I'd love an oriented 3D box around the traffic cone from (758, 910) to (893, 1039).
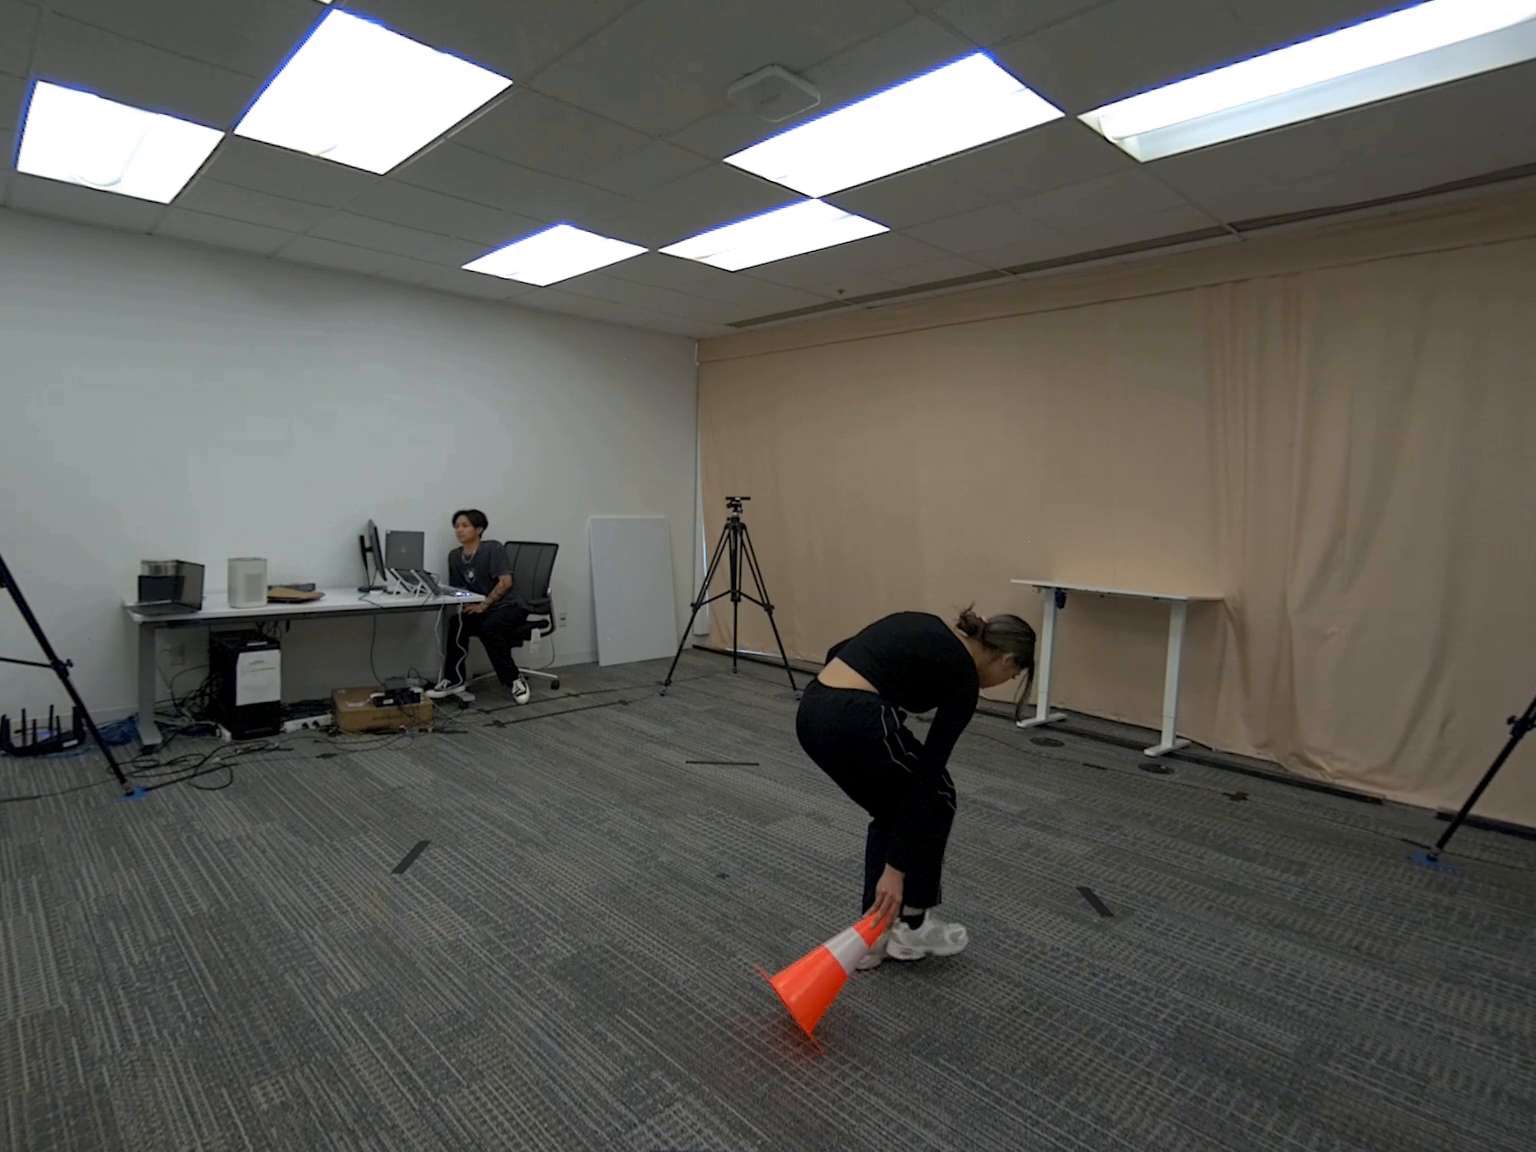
[{"bbox_3d":[0.190,1.009,2.219,0.382,0.201,0.207,-36,10,-13],"label":"traffic cone"}]
